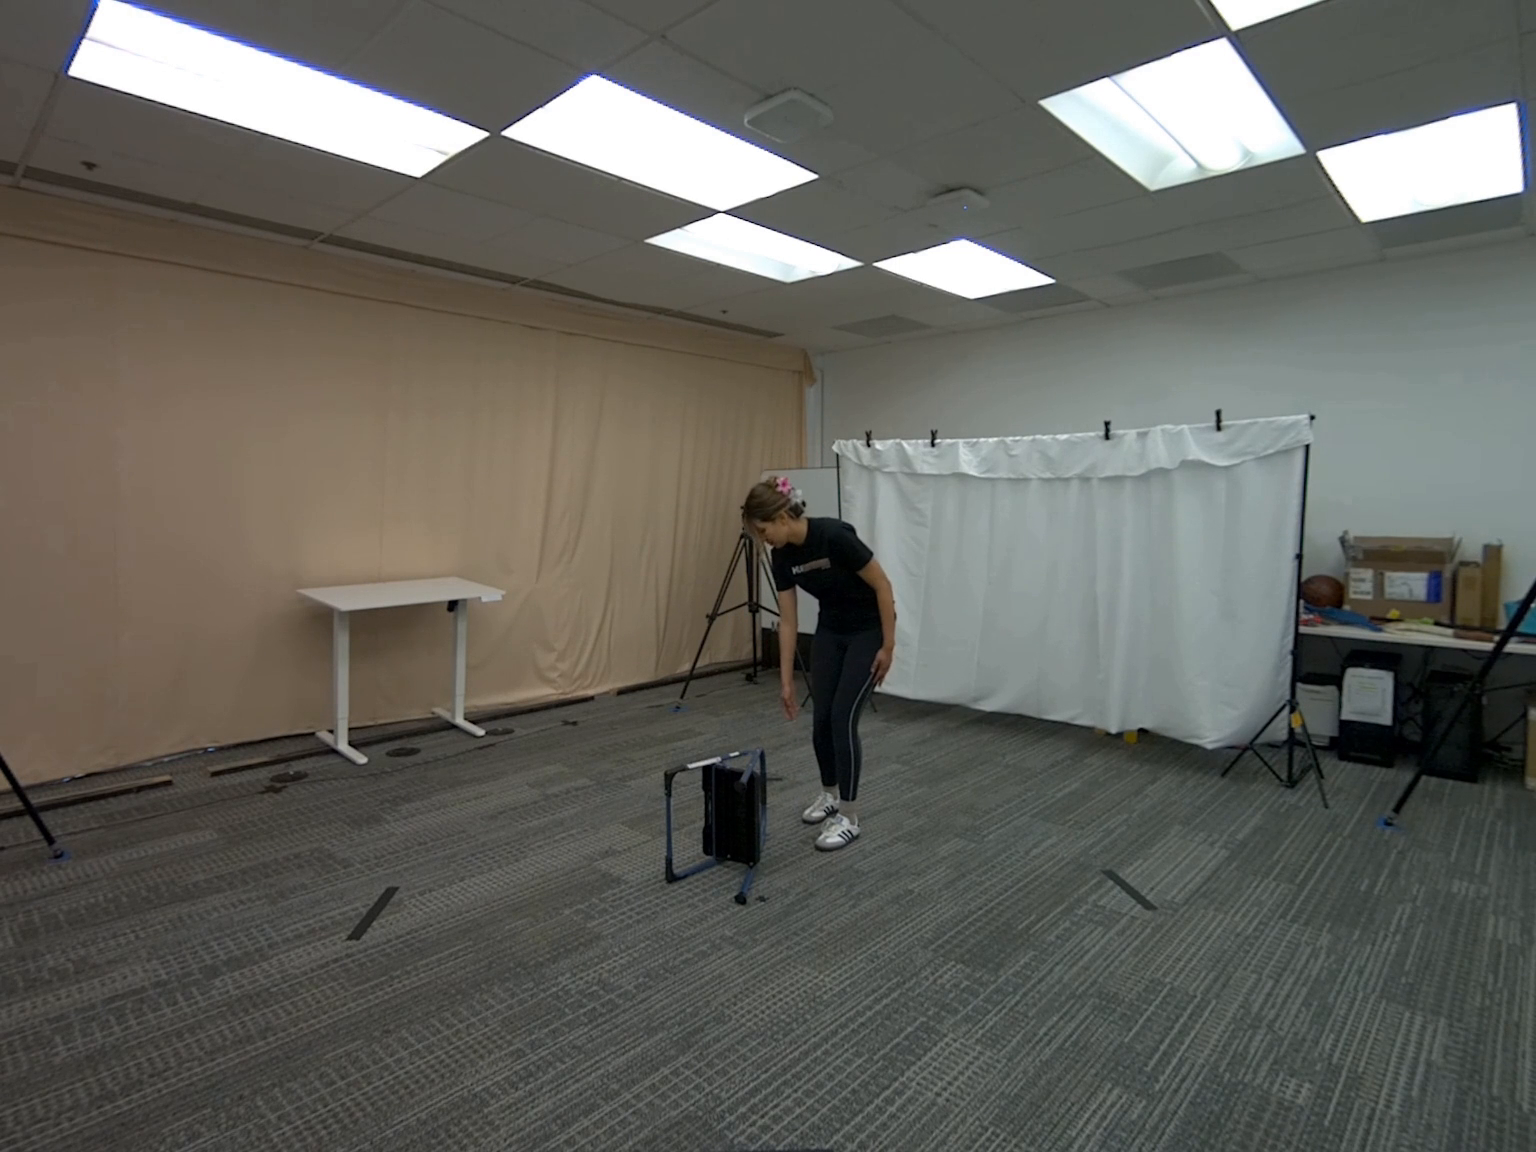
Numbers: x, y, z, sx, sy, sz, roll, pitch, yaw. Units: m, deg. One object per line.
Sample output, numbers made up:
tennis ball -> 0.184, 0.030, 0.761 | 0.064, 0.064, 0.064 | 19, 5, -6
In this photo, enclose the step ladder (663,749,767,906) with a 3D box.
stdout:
step ladder -> -0.095, 0.915, 3.276 | 0.359, 0.430, 0.589 | 2, 3, 29
